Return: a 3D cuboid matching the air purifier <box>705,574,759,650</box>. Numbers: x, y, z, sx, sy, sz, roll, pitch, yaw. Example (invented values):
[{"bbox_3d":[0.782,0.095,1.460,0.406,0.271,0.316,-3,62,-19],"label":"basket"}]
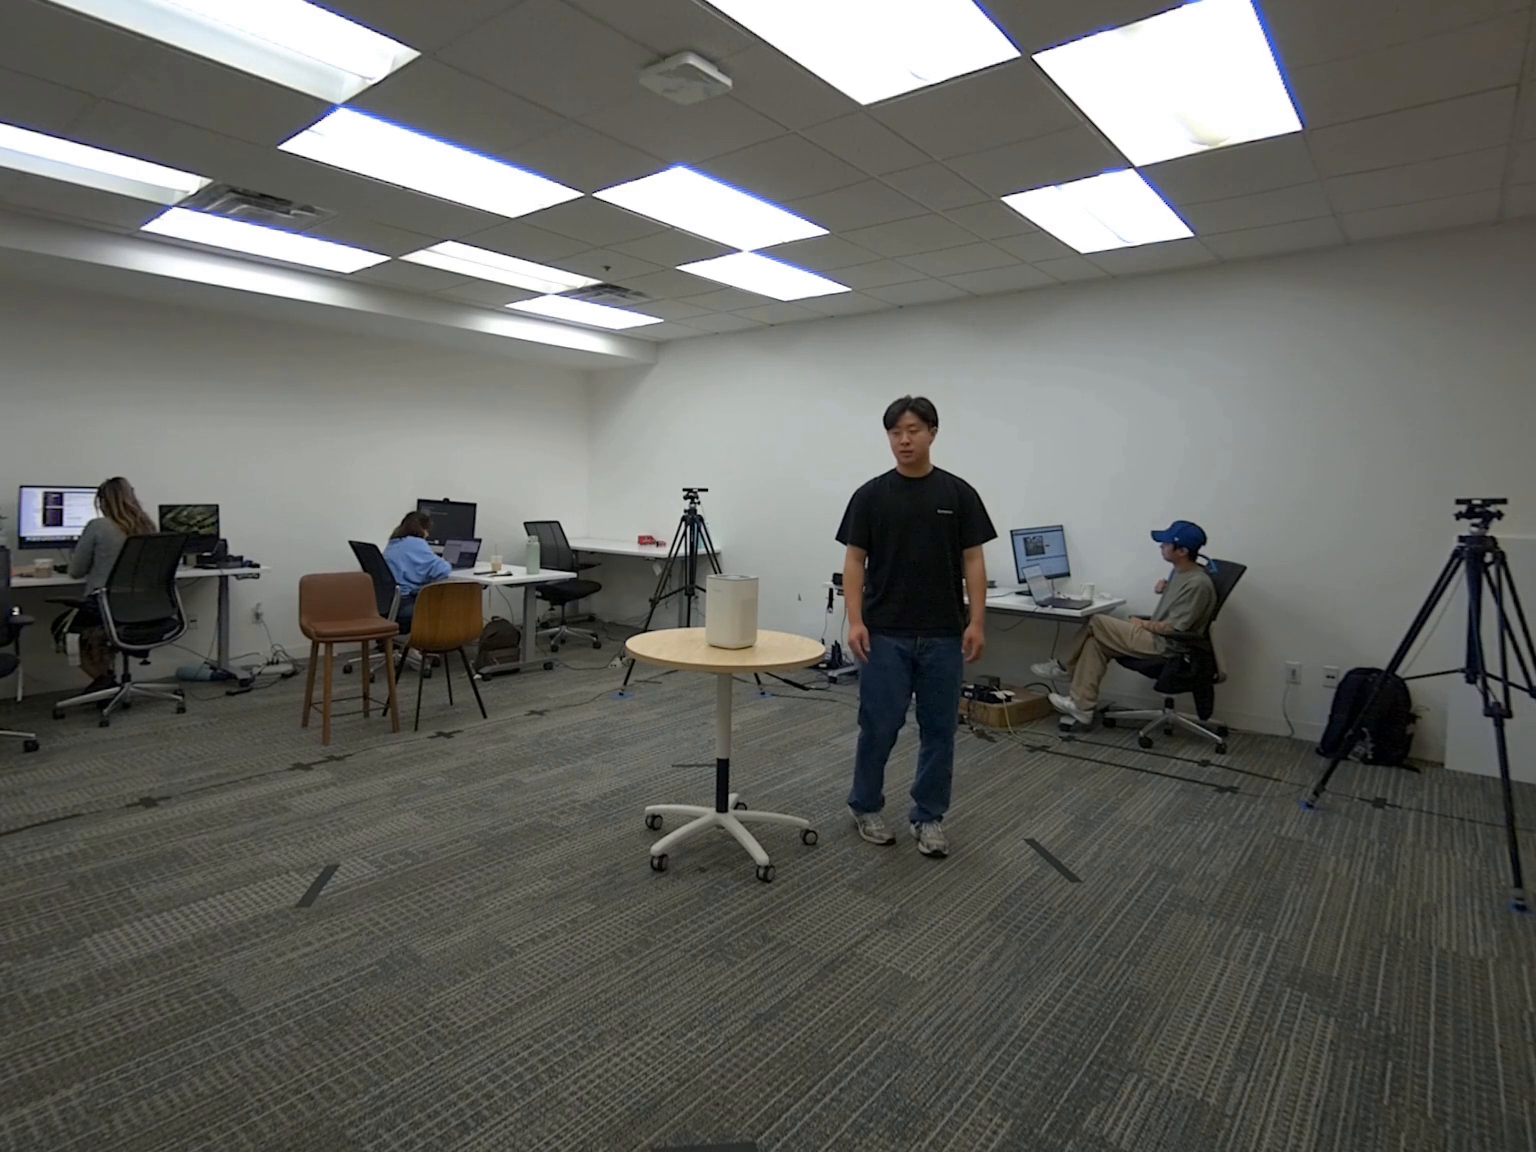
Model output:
[{"bbox_3d":[-0.154,0.132,3.248,0.176,0.265,0.166,3,3,38],"label":"air purifier"}]
